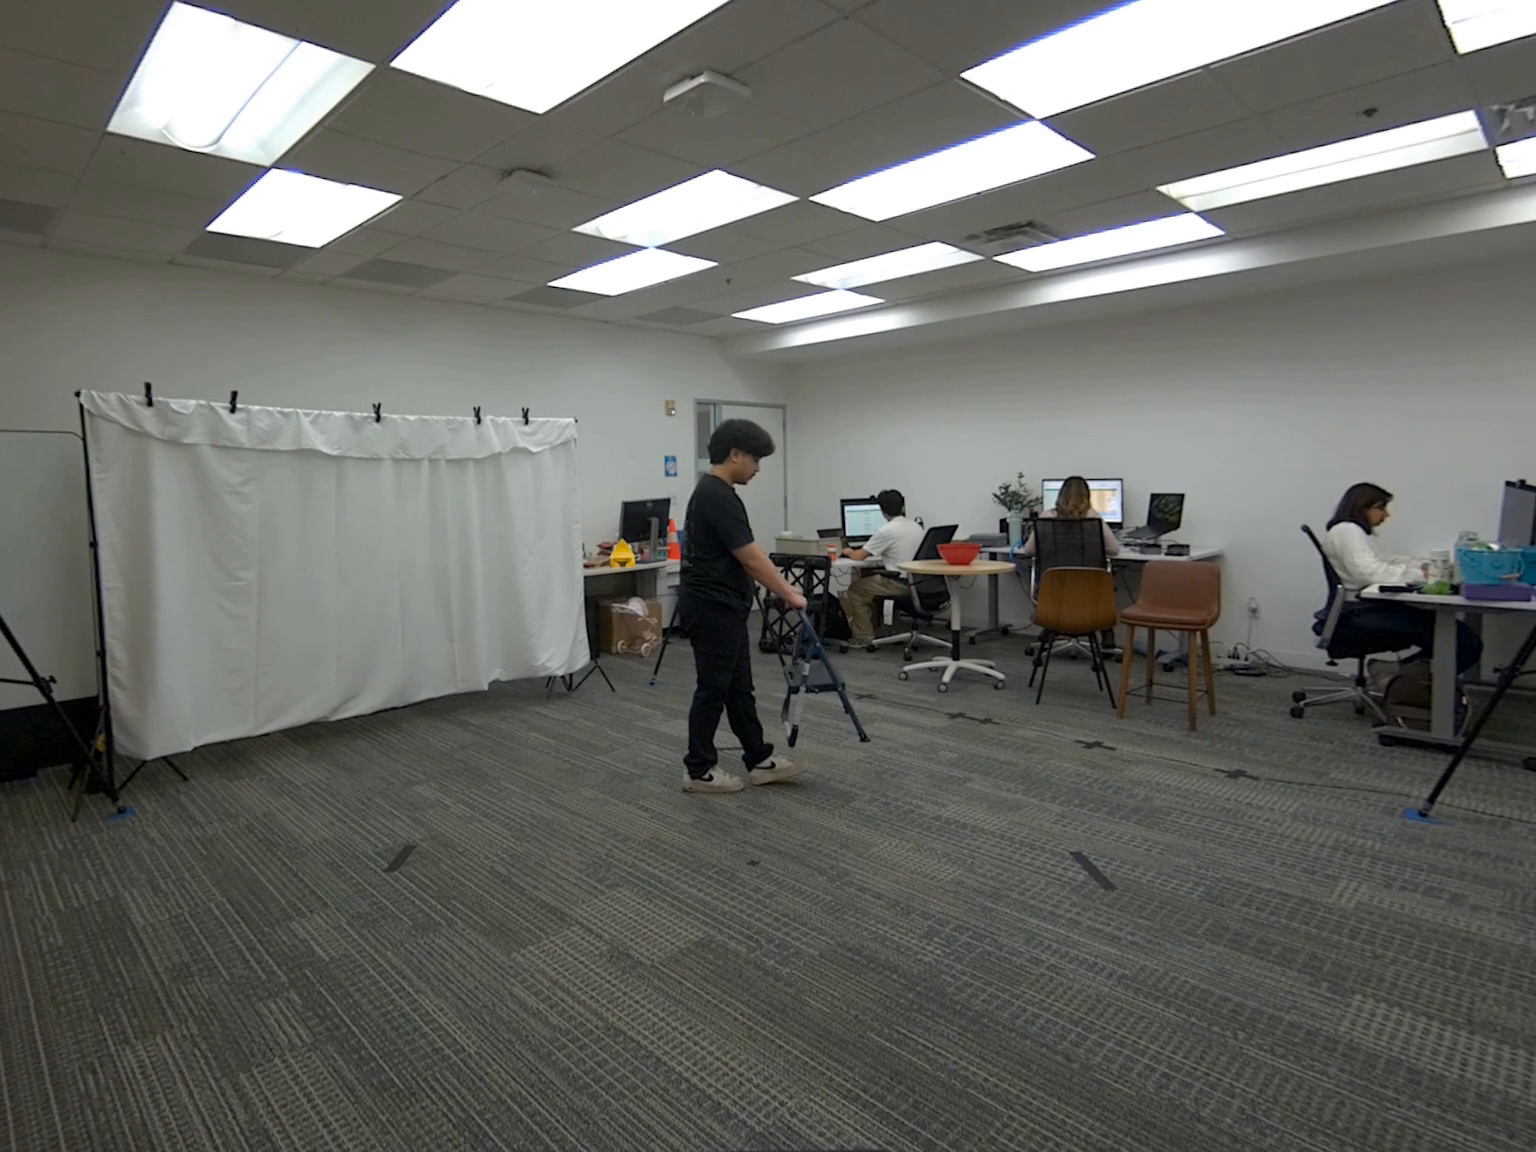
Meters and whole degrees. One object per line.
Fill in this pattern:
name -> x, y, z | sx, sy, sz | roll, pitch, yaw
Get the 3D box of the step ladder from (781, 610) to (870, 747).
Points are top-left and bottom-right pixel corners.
step ladder -> 0.221, 0.400, 3.837 | 0.349, 0.602, 0.434 | -5, 7, -3
